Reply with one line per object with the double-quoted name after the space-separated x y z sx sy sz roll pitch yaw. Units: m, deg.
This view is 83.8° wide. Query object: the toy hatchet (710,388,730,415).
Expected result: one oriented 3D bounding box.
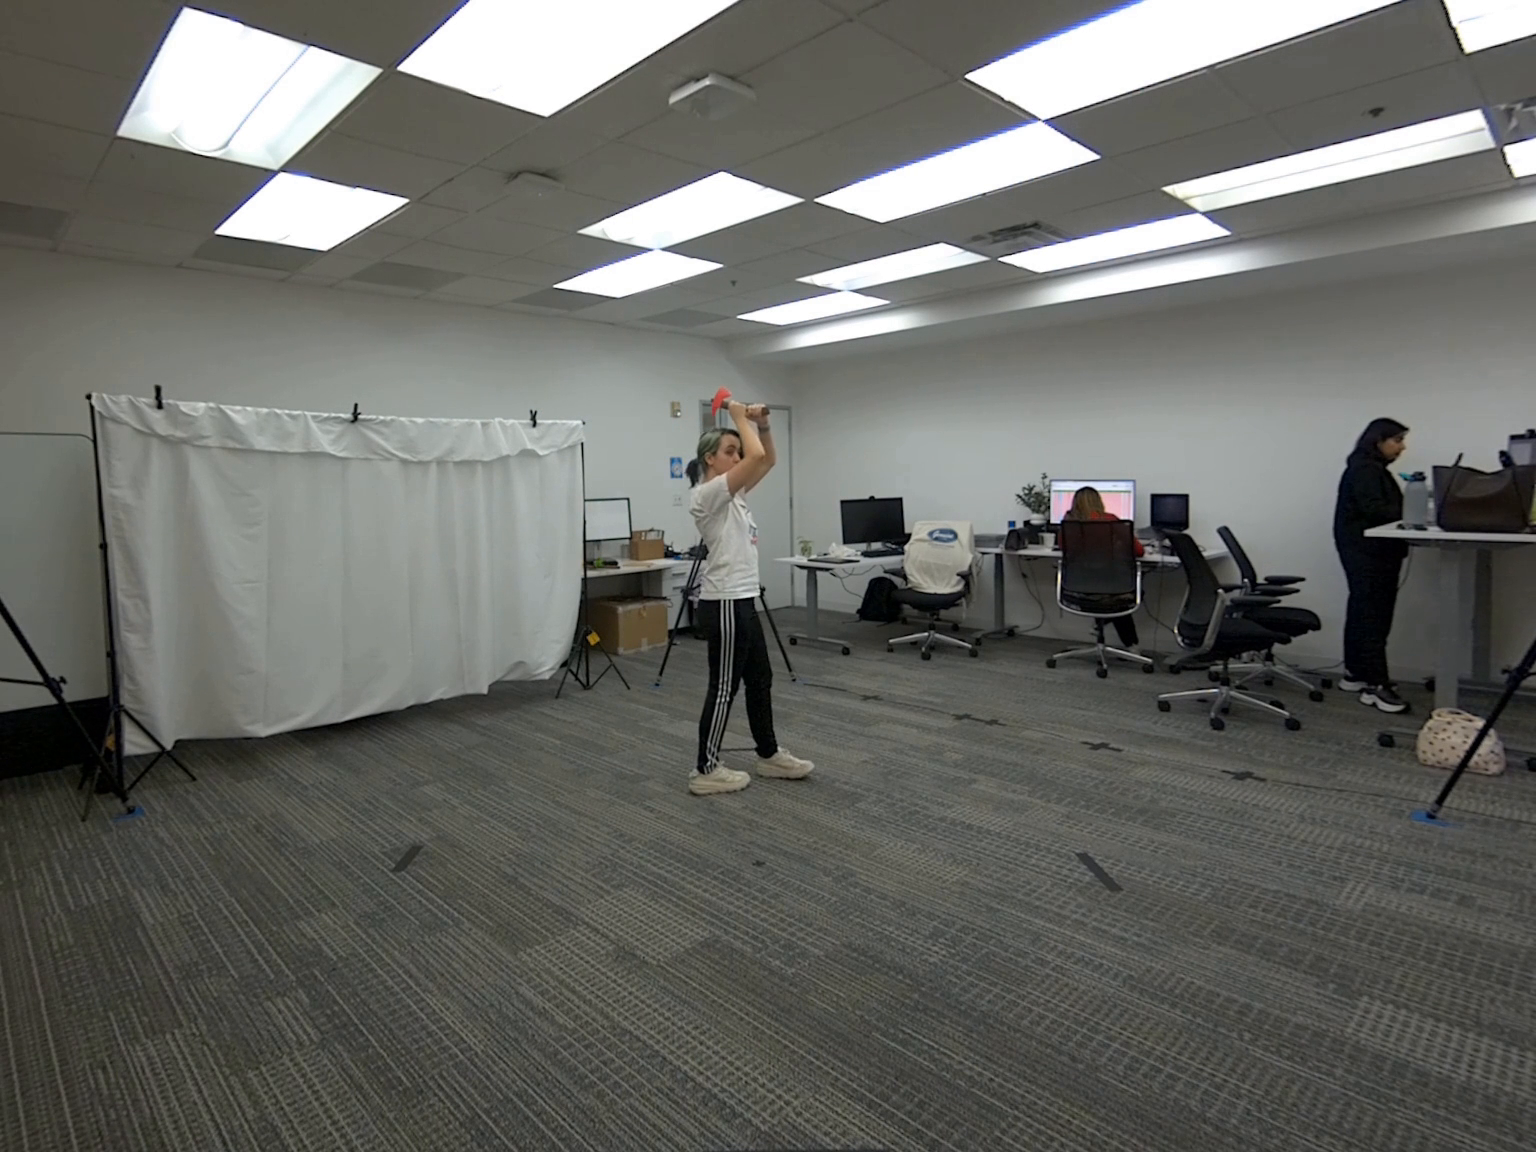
-0.116 -0.782 3.803 0.273 0.131 0.029 0 0 13 "toy hatchet"
